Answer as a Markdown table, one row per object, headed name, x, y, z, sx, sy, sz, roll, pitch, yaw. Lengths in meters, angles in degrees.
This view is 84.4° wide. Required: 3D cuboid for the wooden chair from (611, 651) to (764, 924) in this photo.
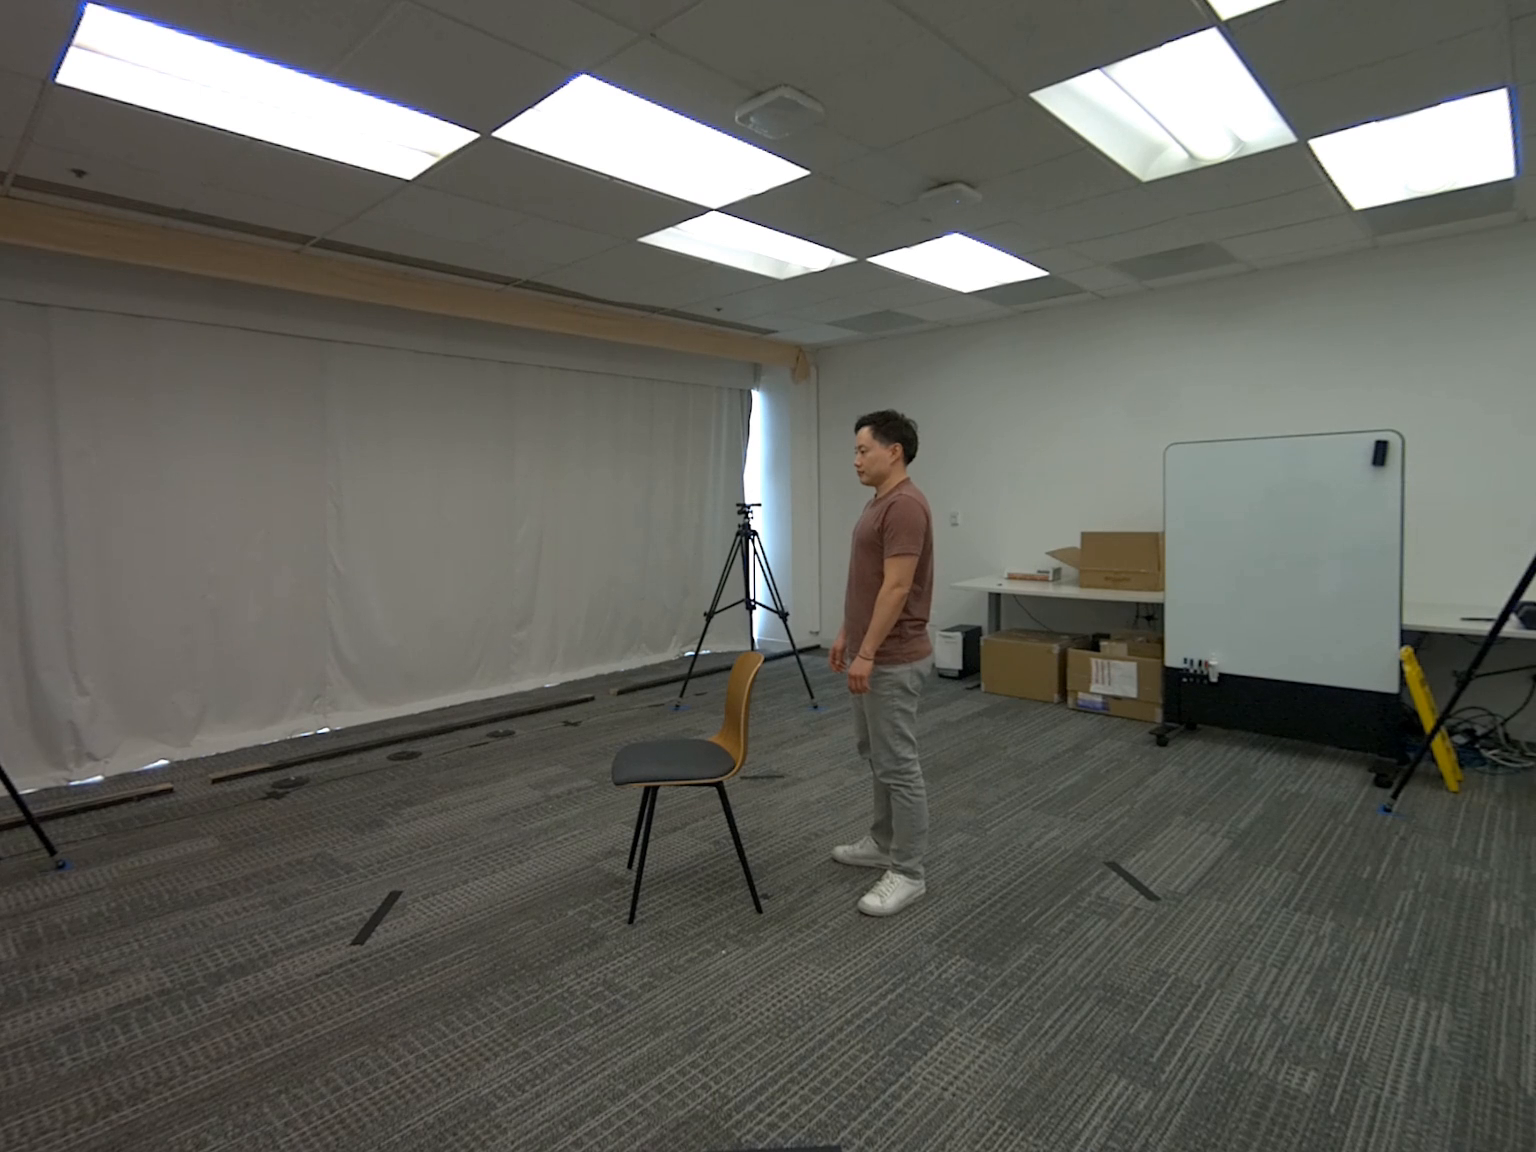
| name | x | y | z | sx | sy | sz | roll | pitch | yaw |
| --- | --- | --- | --- | --- | --- | --- | --- | --- | --- |
| wooden chair | -0.297 | 0.712 | 3.020 | 0.518 | 0.875 | 0.484 | 2 | 4 | -9 |
